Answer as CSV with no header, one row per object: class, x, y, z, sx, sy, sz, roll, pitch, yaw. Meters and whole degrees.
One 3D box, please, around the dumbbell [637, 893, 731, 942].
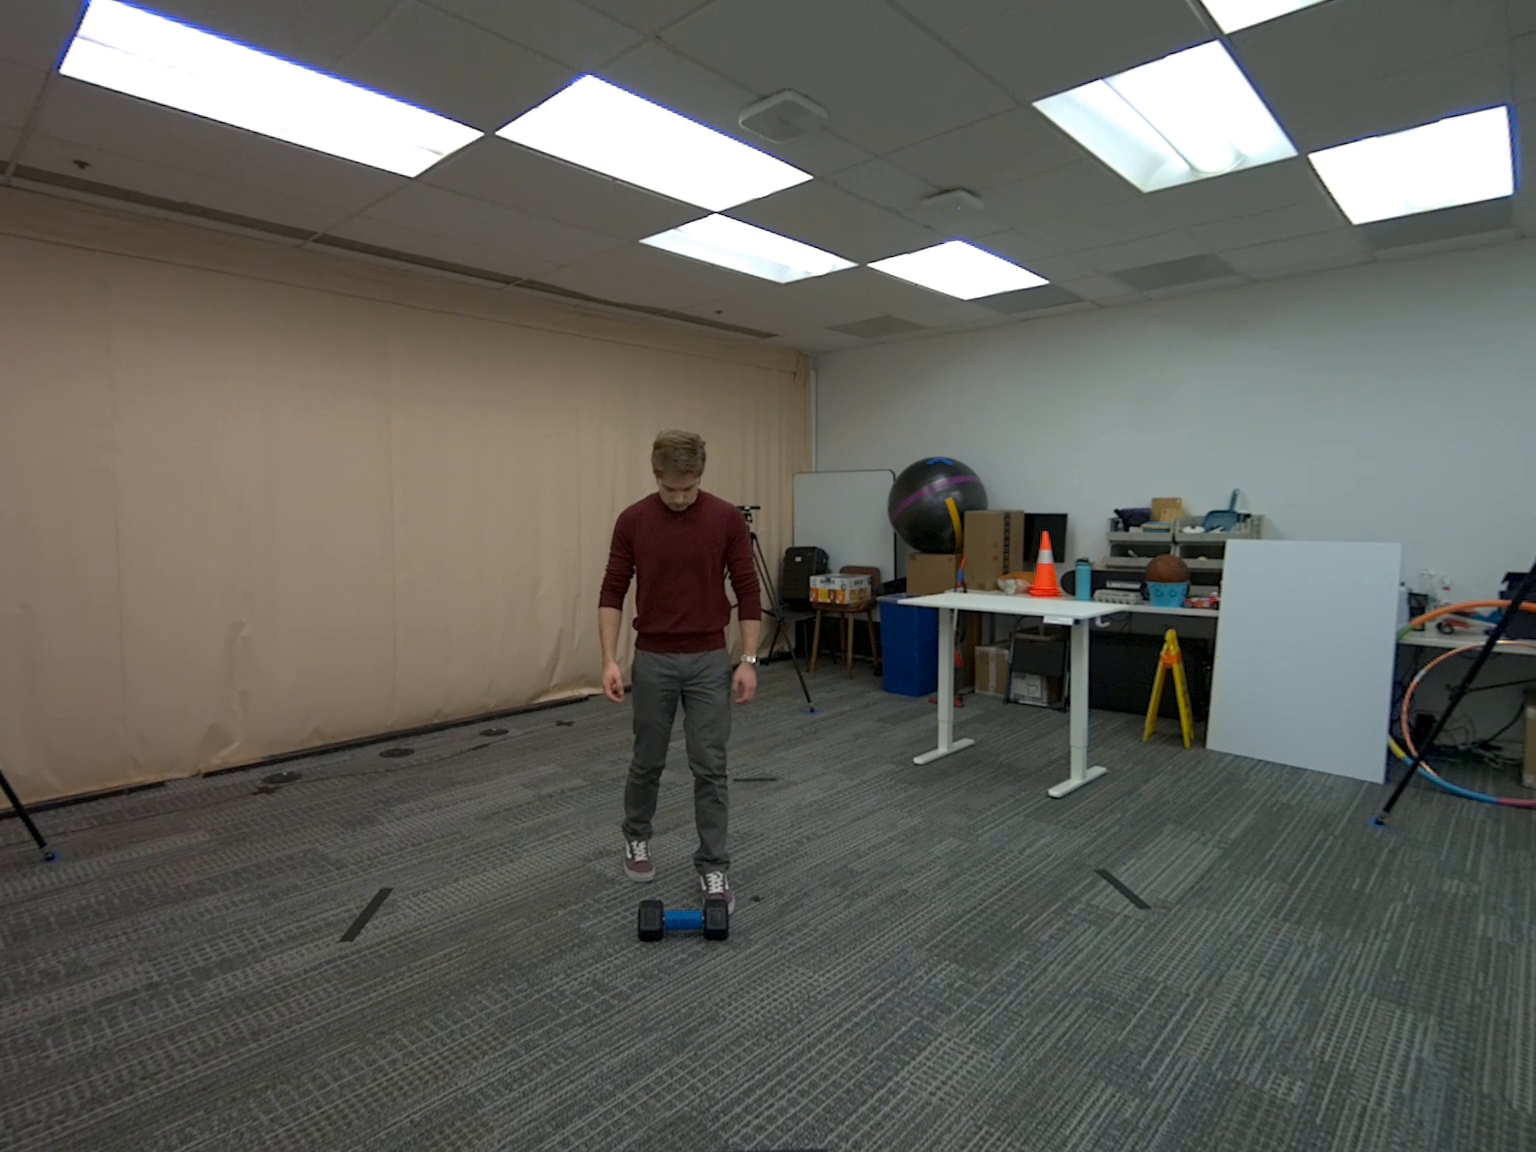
dumbbell,-0.275,1.118,2.720,0.293,0.125,0.107,0,-26,0
